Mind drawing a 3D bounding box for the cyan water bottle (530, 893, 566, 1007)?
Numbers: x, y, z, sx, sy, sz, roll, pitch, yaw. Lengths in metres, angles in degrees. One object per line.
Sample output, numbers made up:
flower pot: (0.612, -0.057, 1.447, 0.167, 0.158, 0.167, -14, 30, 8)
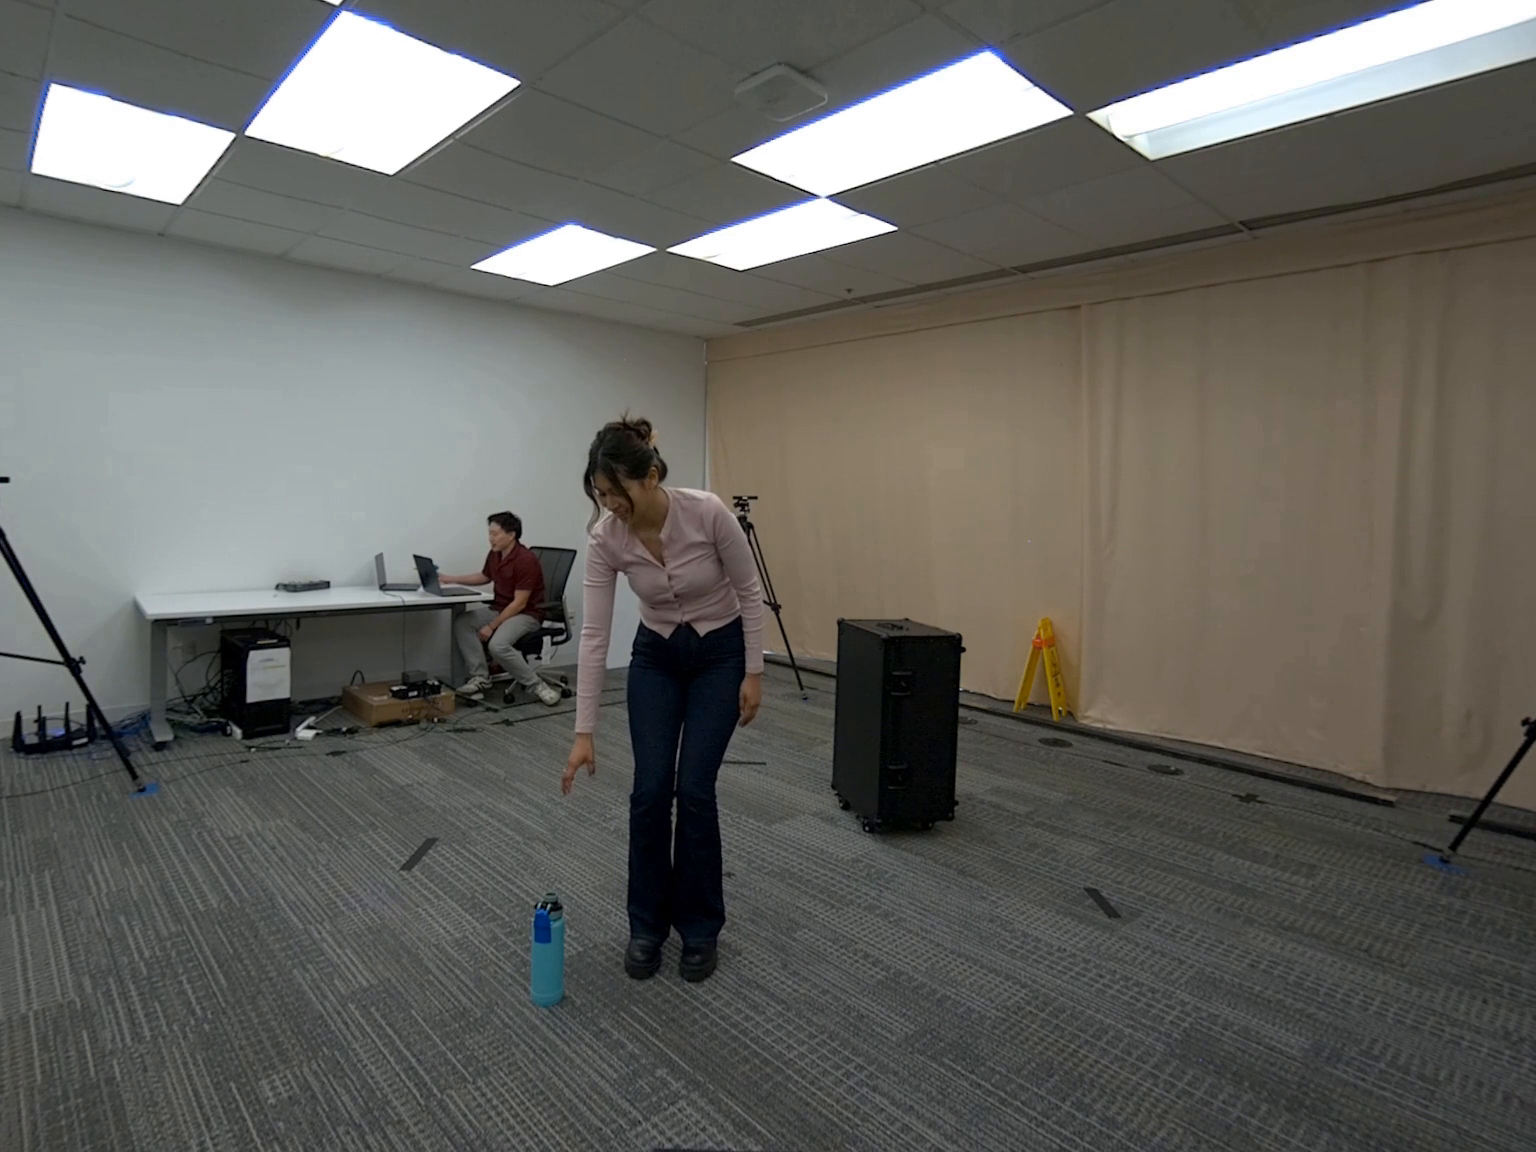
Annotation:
cyan water bottle: (-0.614, 1.029, 2.305, 0.092, 0.282, 0.093, 1, 4, -1)
